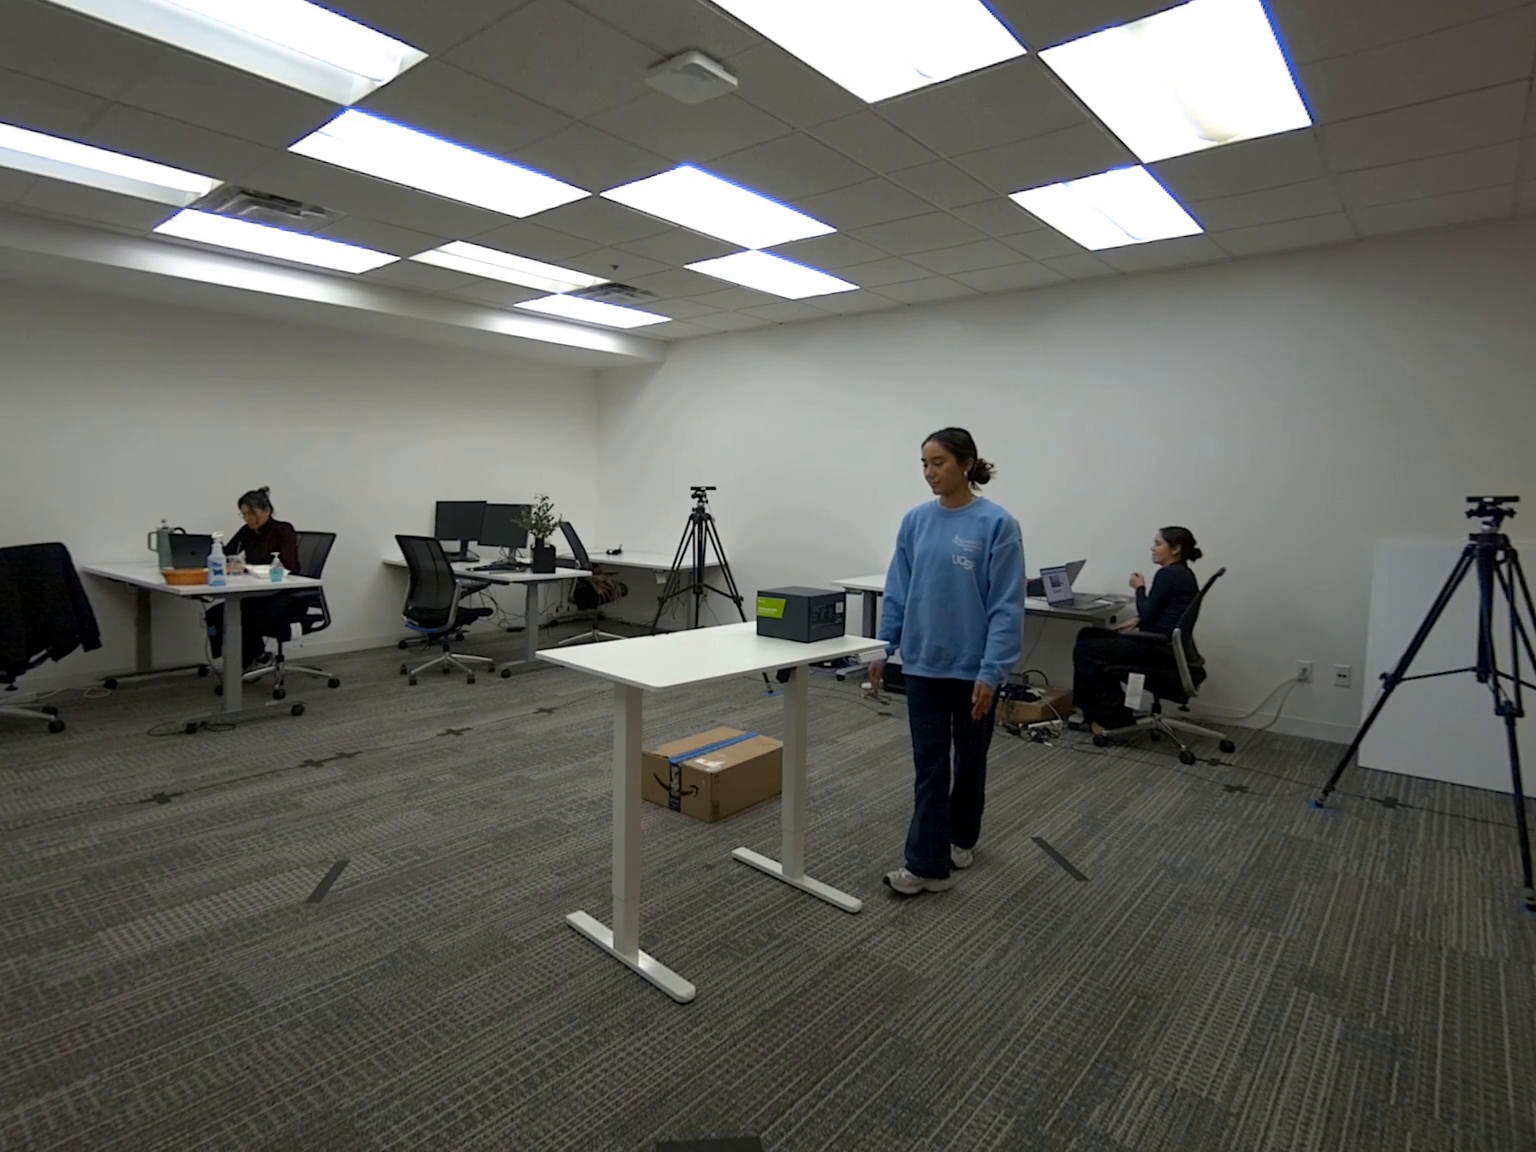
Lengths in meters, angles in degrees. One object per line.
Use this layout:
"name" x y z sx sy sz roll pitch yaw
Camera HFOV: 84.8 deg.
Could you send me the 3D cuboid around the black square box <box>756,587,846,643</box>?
"black square box" 0.104 0.125 2.941 0.235 0.155 0.210 5 7 40
